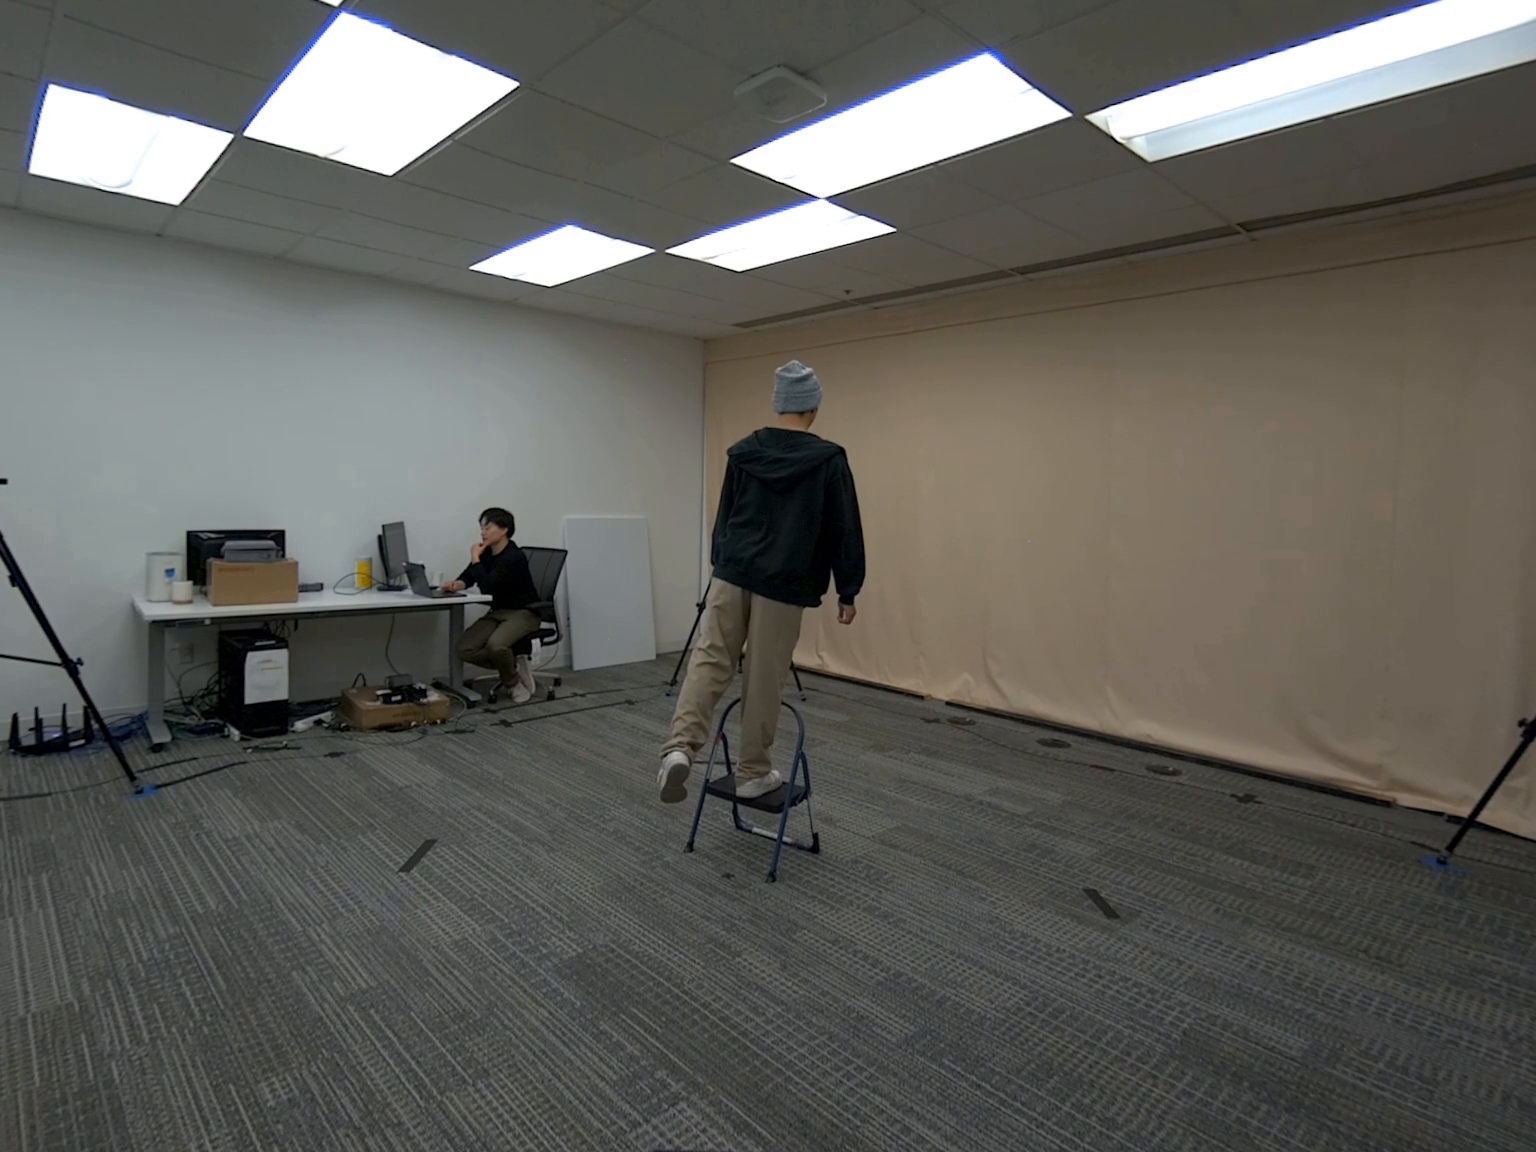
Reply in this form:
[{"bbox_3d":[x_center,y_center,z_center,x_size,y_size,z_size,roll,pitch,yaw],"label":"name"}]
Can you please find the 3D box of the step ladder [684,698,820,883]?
[{"bbox_3d":[-0.056,0.790,3.307,0.441,0.605,0.341,4,4,36],"label":"step ladder"}]
